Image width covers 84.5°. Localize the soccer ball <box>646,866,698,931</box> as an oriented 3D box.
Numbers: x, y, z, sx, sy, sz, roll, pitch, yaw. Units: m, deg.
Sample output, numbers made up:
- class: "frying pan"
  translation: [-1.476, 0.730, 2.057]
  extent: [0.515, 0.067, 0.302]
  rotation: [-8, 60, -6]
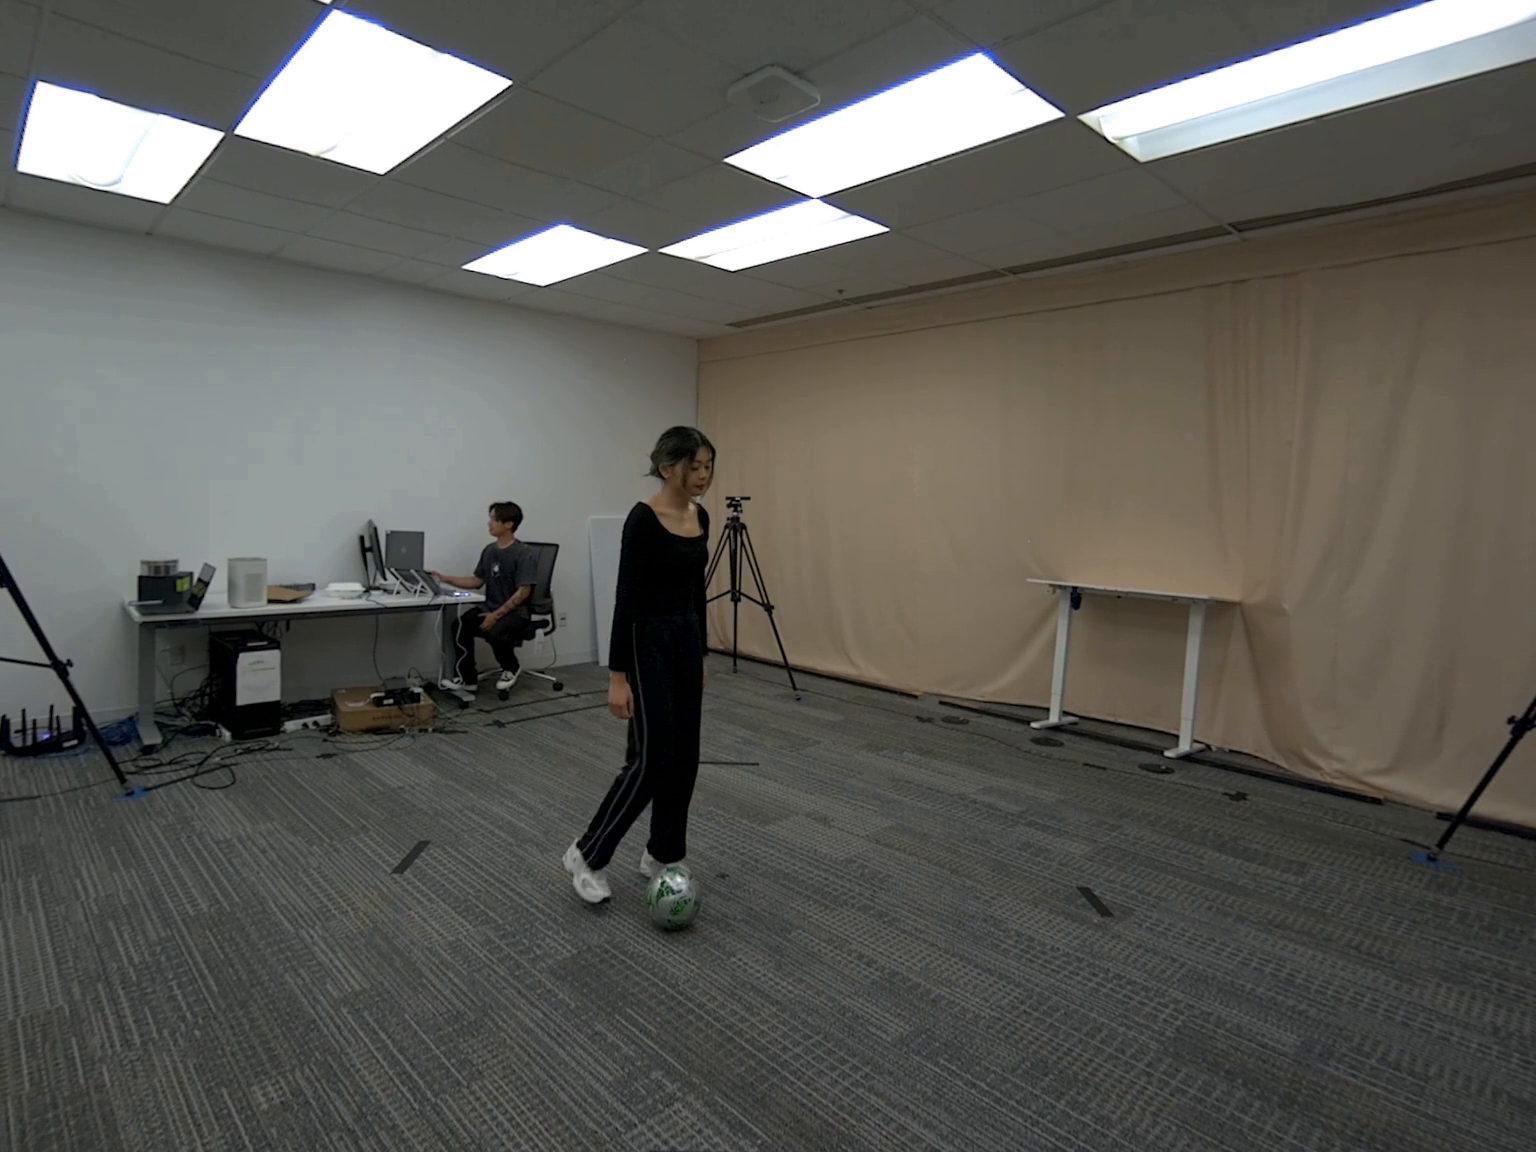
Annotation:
- class: "soccer ball"
  translation: [-0.317, 1.040, 2.729]
  extent: [0.187, 0.187, 0.188]
  rotation: [1, 4, -1]
